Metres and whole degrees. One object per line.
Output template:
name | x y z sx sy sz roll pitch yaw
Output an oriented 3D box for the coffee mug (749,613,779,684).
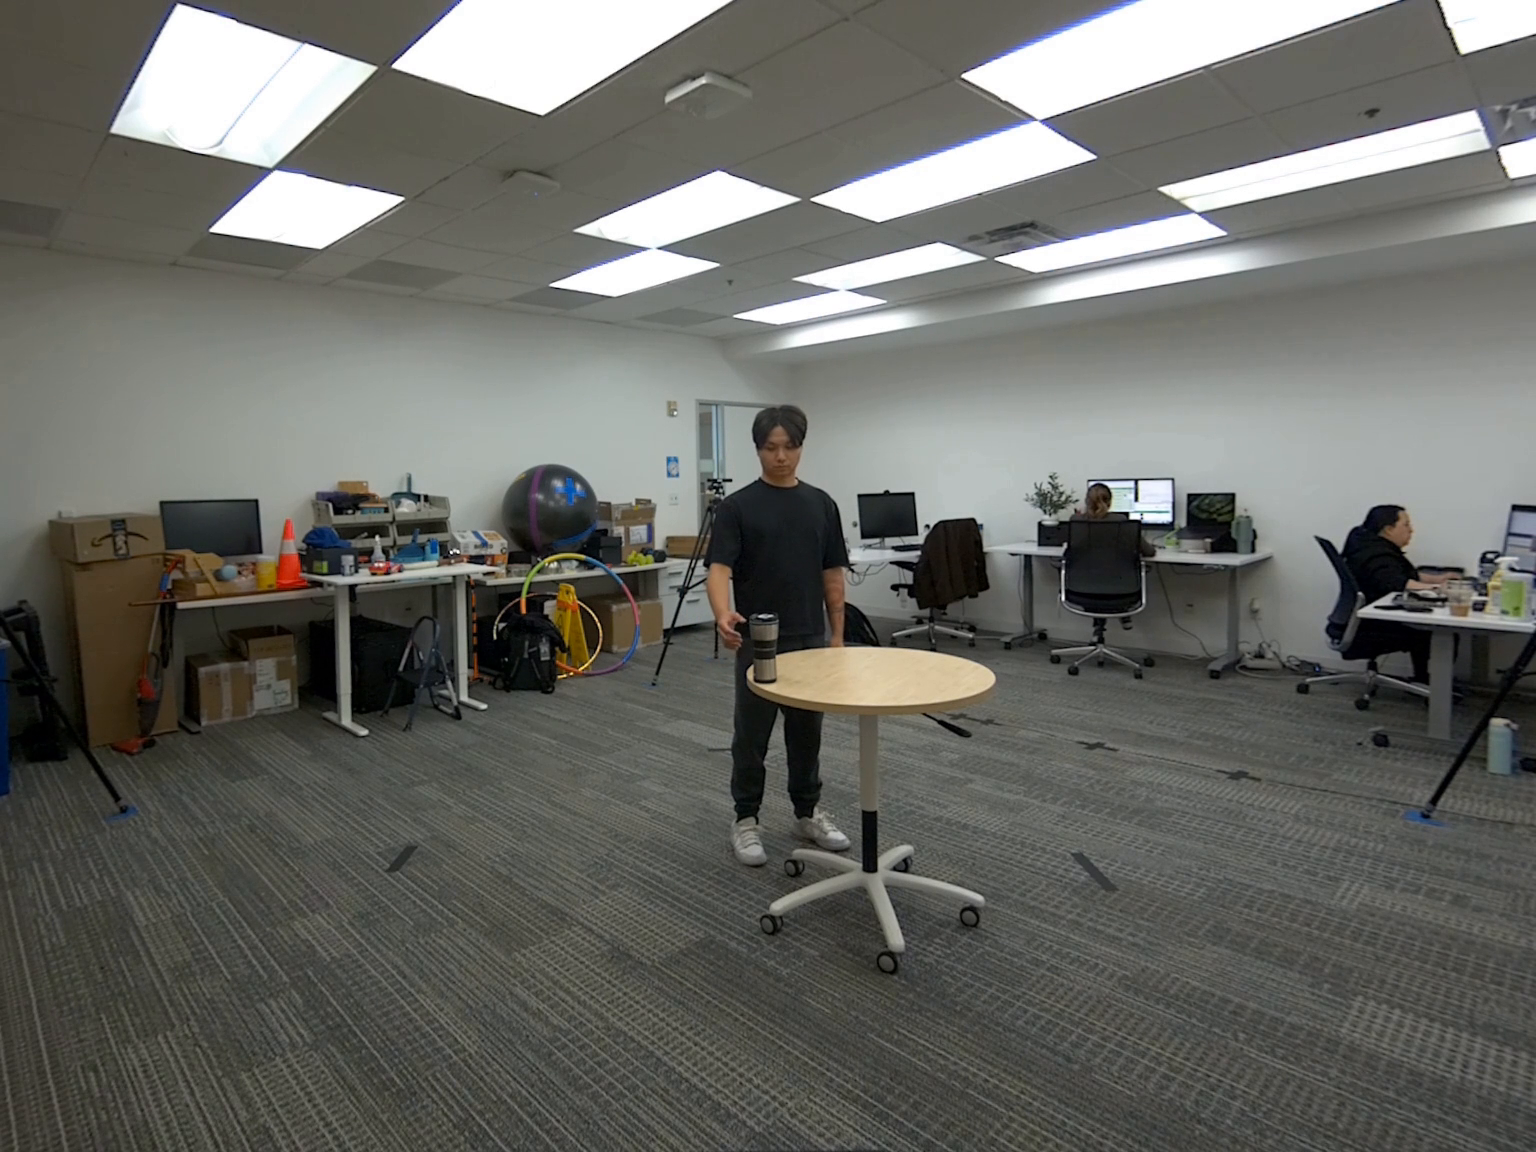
coffee mug | 0.002 0.222 2.611 0.090 0.202 0.119 -2 6 41
